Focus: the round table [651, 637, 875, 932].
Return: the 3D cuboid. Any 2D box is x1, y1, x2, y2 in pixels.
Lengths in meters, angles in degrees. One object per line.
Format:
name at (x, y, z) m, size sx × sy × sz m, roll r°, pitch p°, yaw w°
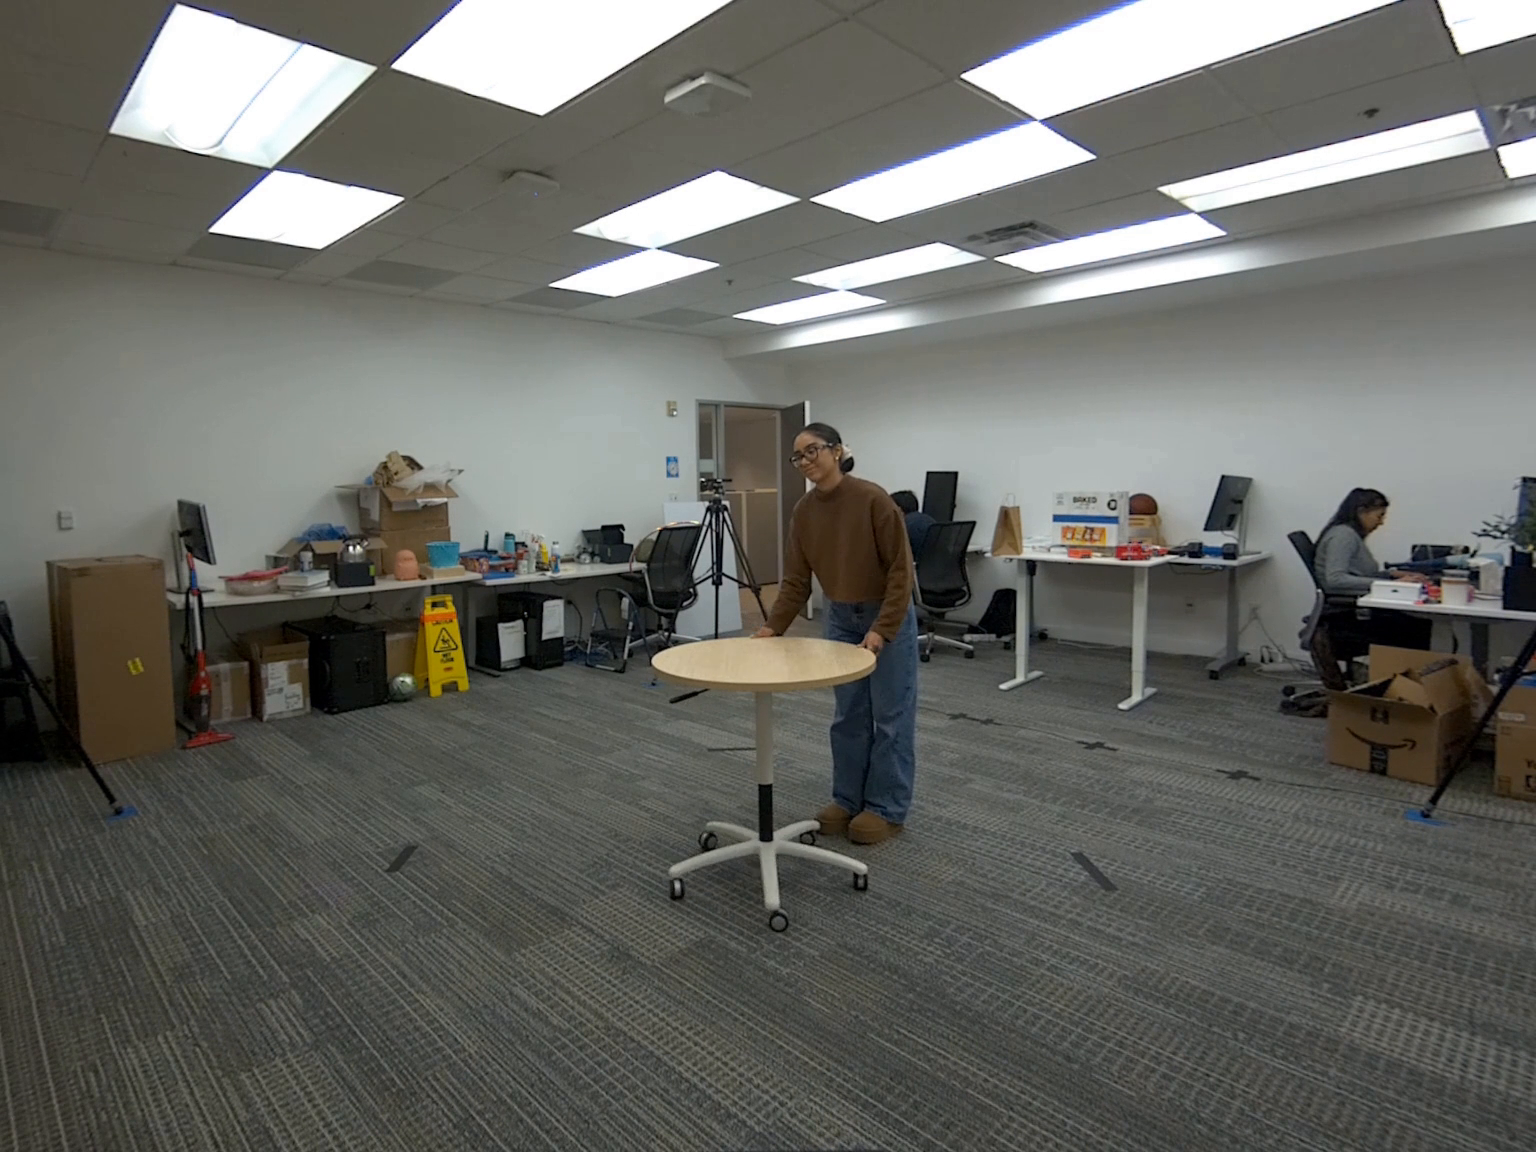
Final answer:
round table at (-0.004, 0.670, 2.960) m, size 0.763 × 0.791 × 0.768 m, roll -1°, pitch 5°, yaw -2°
